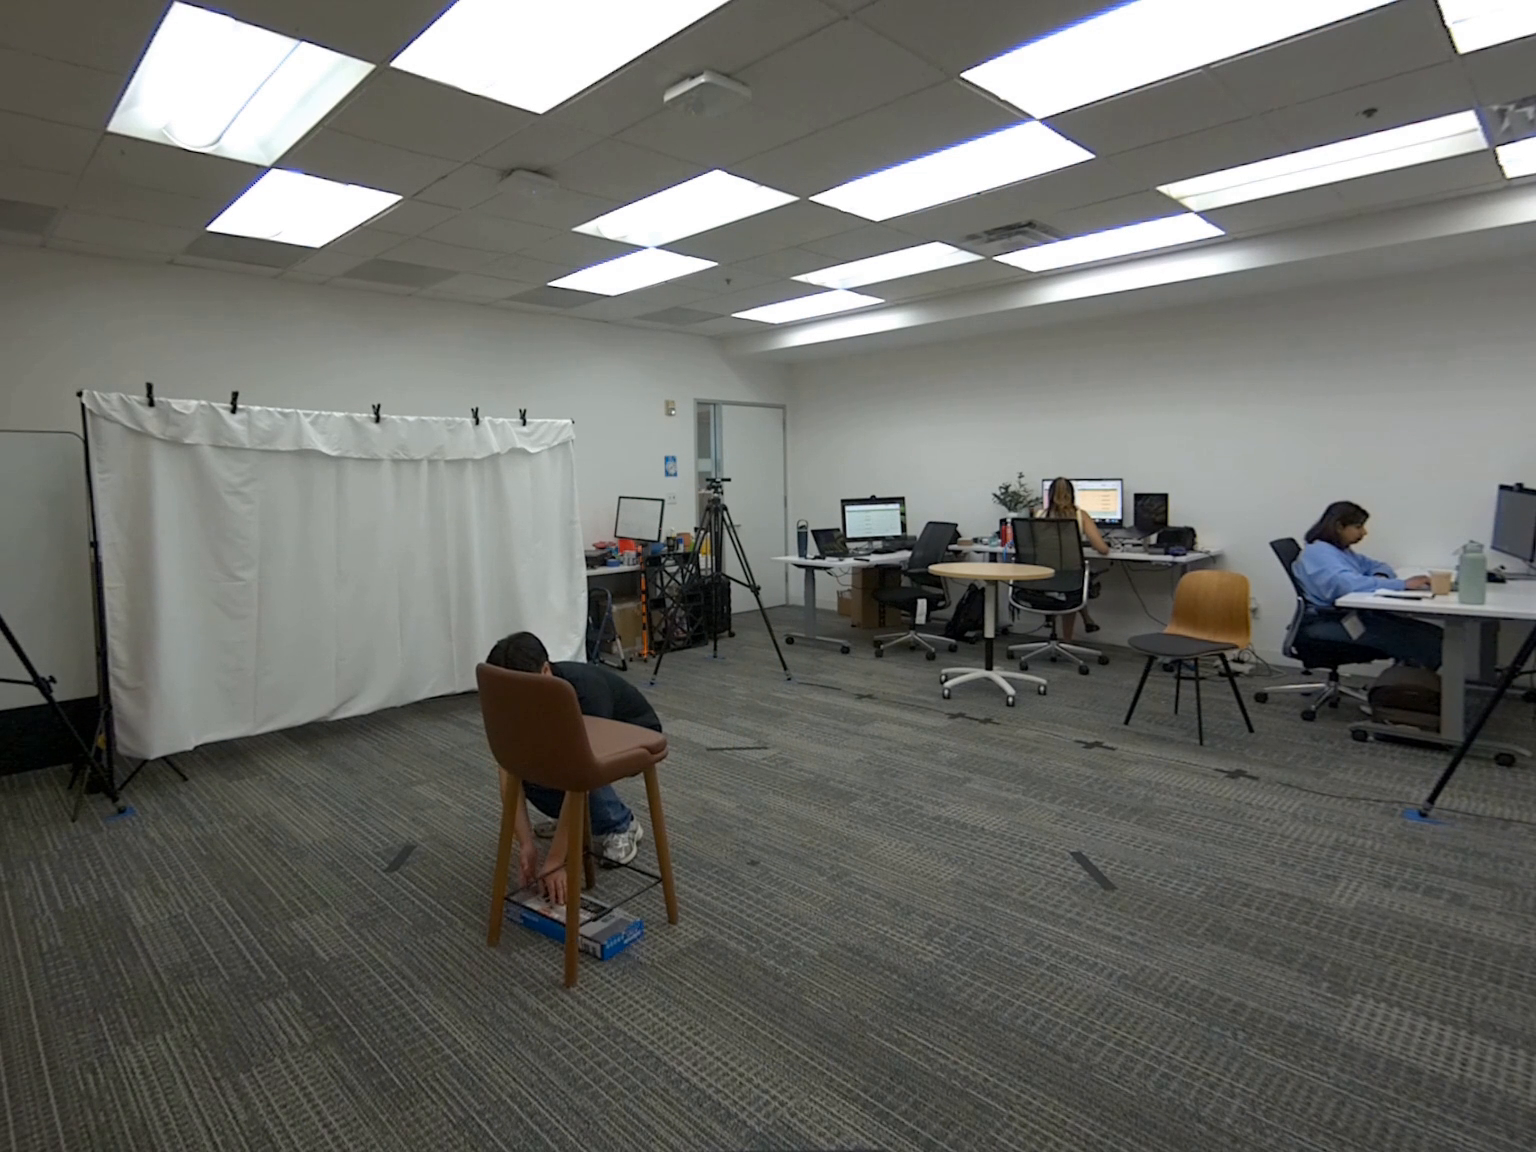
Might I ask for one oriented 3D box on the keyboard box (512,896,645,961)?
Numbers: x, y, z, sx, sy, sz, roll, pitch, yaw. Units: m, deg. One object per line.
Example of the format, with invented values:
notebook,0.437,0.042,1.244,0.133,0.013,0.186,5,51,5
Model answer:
keyboard box,-0.612,1.078,2.681,0.450,0.059,0.172,4,9,36
